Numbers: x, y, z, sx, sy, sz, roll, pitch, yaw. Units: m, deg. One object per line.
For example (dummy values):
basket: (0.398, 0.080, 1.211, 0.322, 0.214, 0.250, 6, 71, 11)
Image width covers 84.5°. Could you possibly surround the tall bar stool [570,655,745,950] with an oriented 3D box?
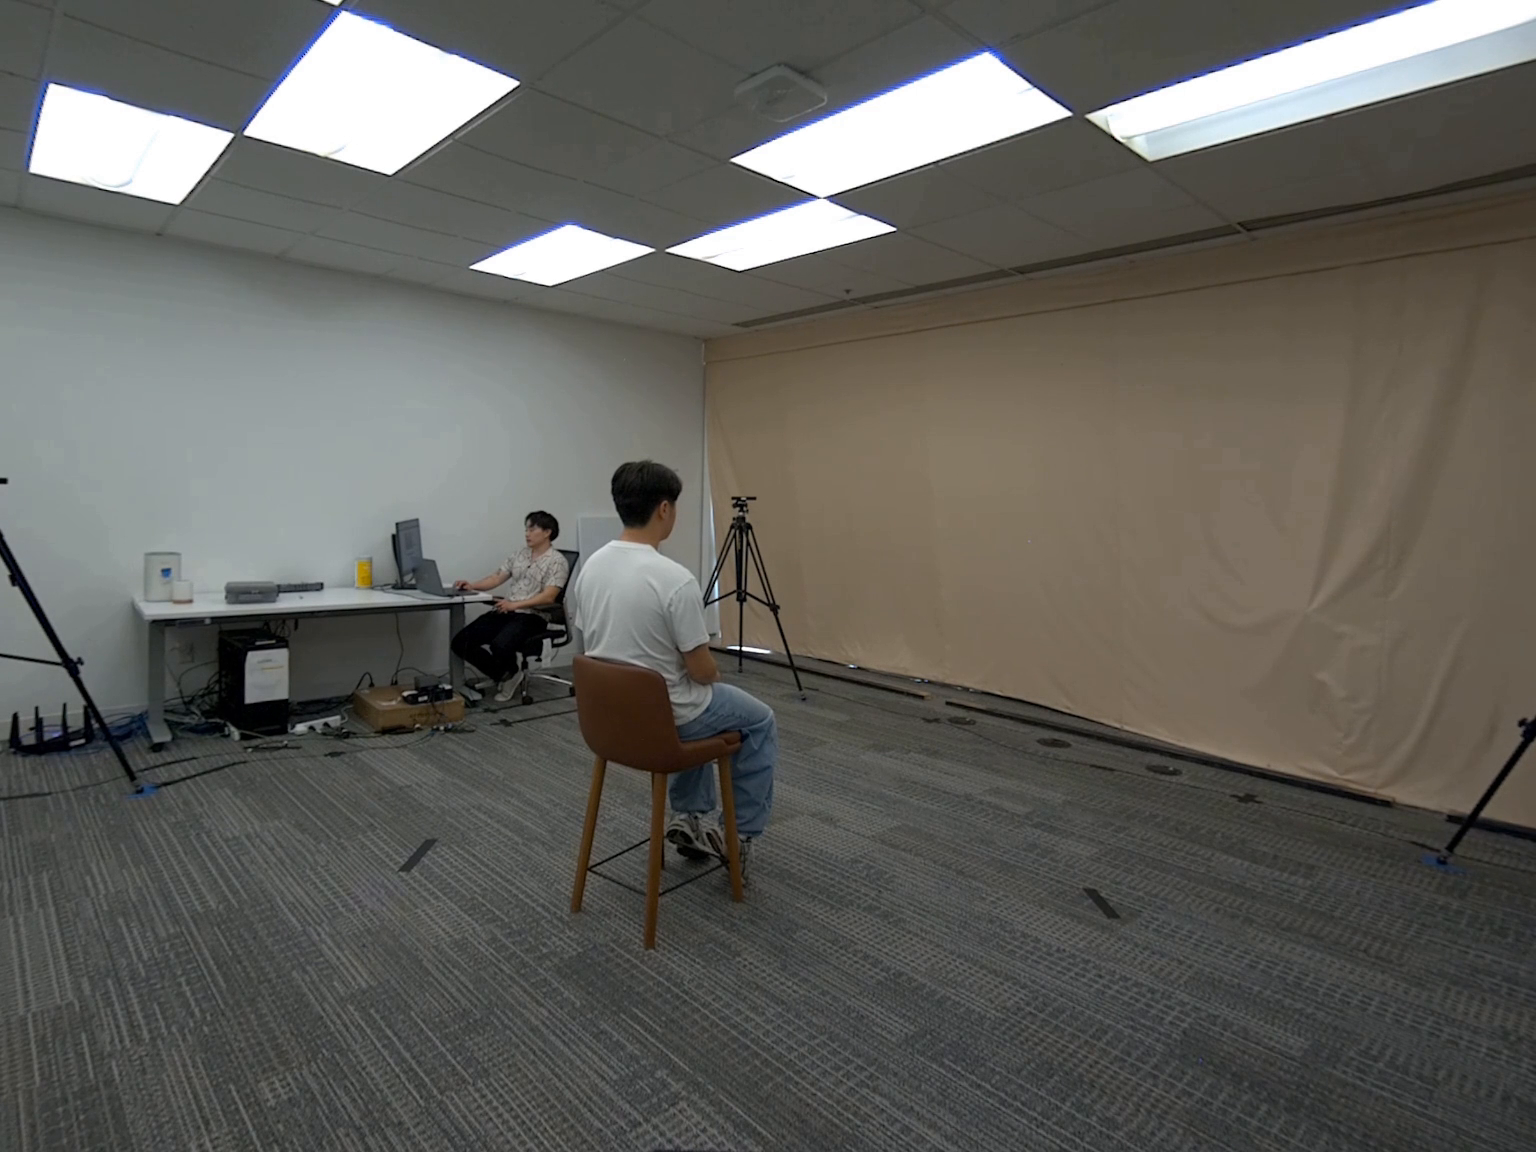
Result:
tall bar stool: (-0.390, 0.691, 2.837, 0.467, 0.887, 0.458, 2, 6, 38)
